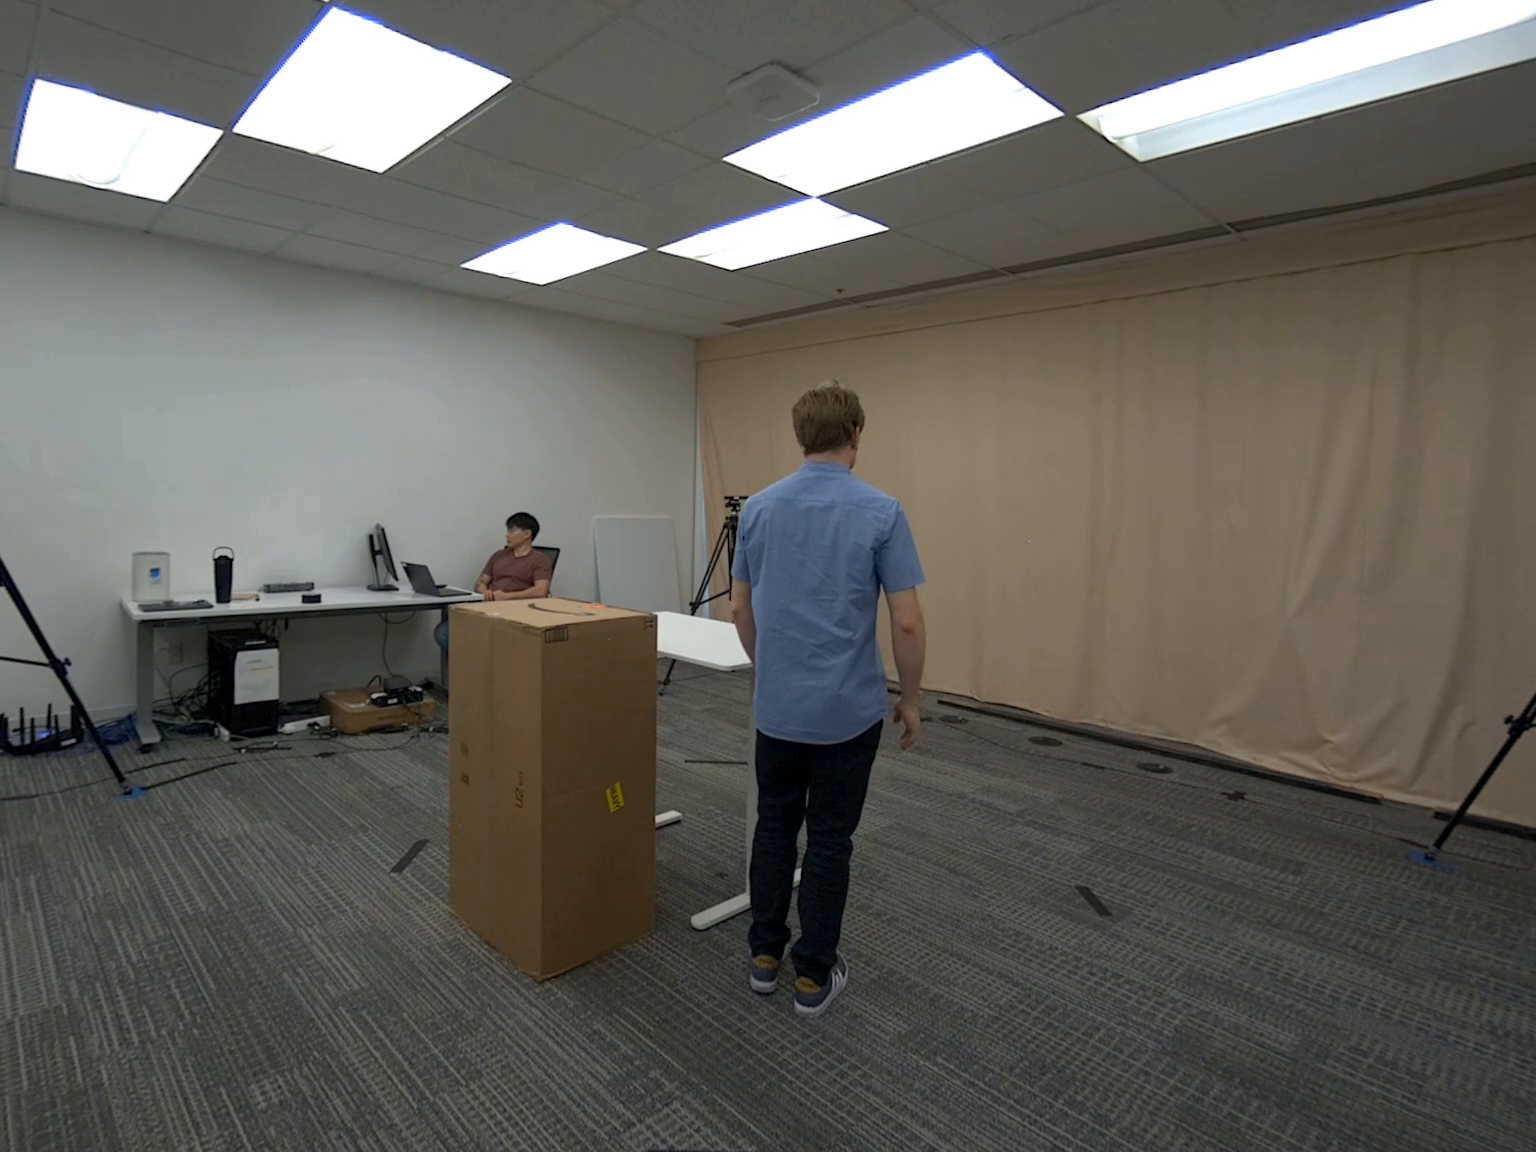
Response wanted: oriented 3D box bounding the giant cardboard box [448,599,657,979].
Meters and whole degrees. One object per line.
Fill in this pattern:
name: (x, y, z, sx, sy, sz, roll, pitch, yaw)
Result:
giant cardboard box: (-0.706, 0.619, 2.714, 0.416, 1.023, 0.592, -2, 4, -44)
